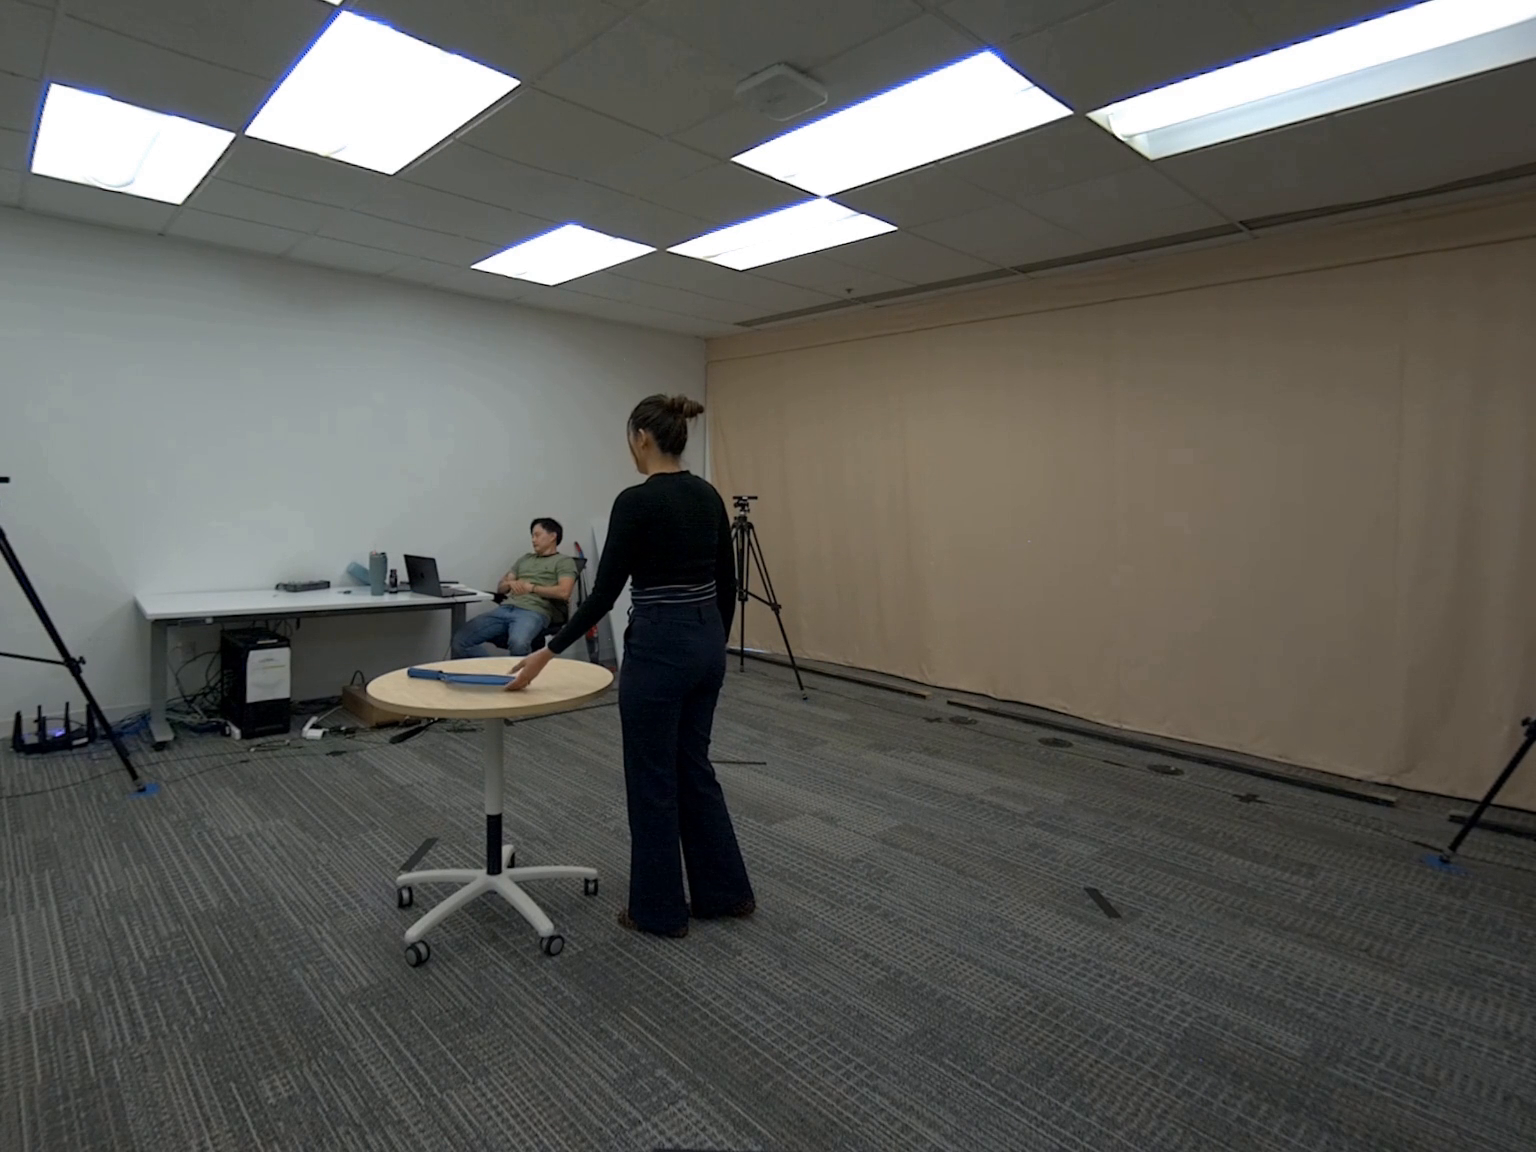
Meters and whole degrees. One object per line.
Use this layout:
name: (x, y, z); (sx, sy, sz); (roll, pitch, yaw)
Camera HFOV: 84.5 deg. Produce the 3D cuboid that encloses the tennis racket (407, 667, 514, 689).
tennis racket: (-0.973, 0.328, 2.675); (0.439, 0.032, 0.210); (2, -1, 16)
